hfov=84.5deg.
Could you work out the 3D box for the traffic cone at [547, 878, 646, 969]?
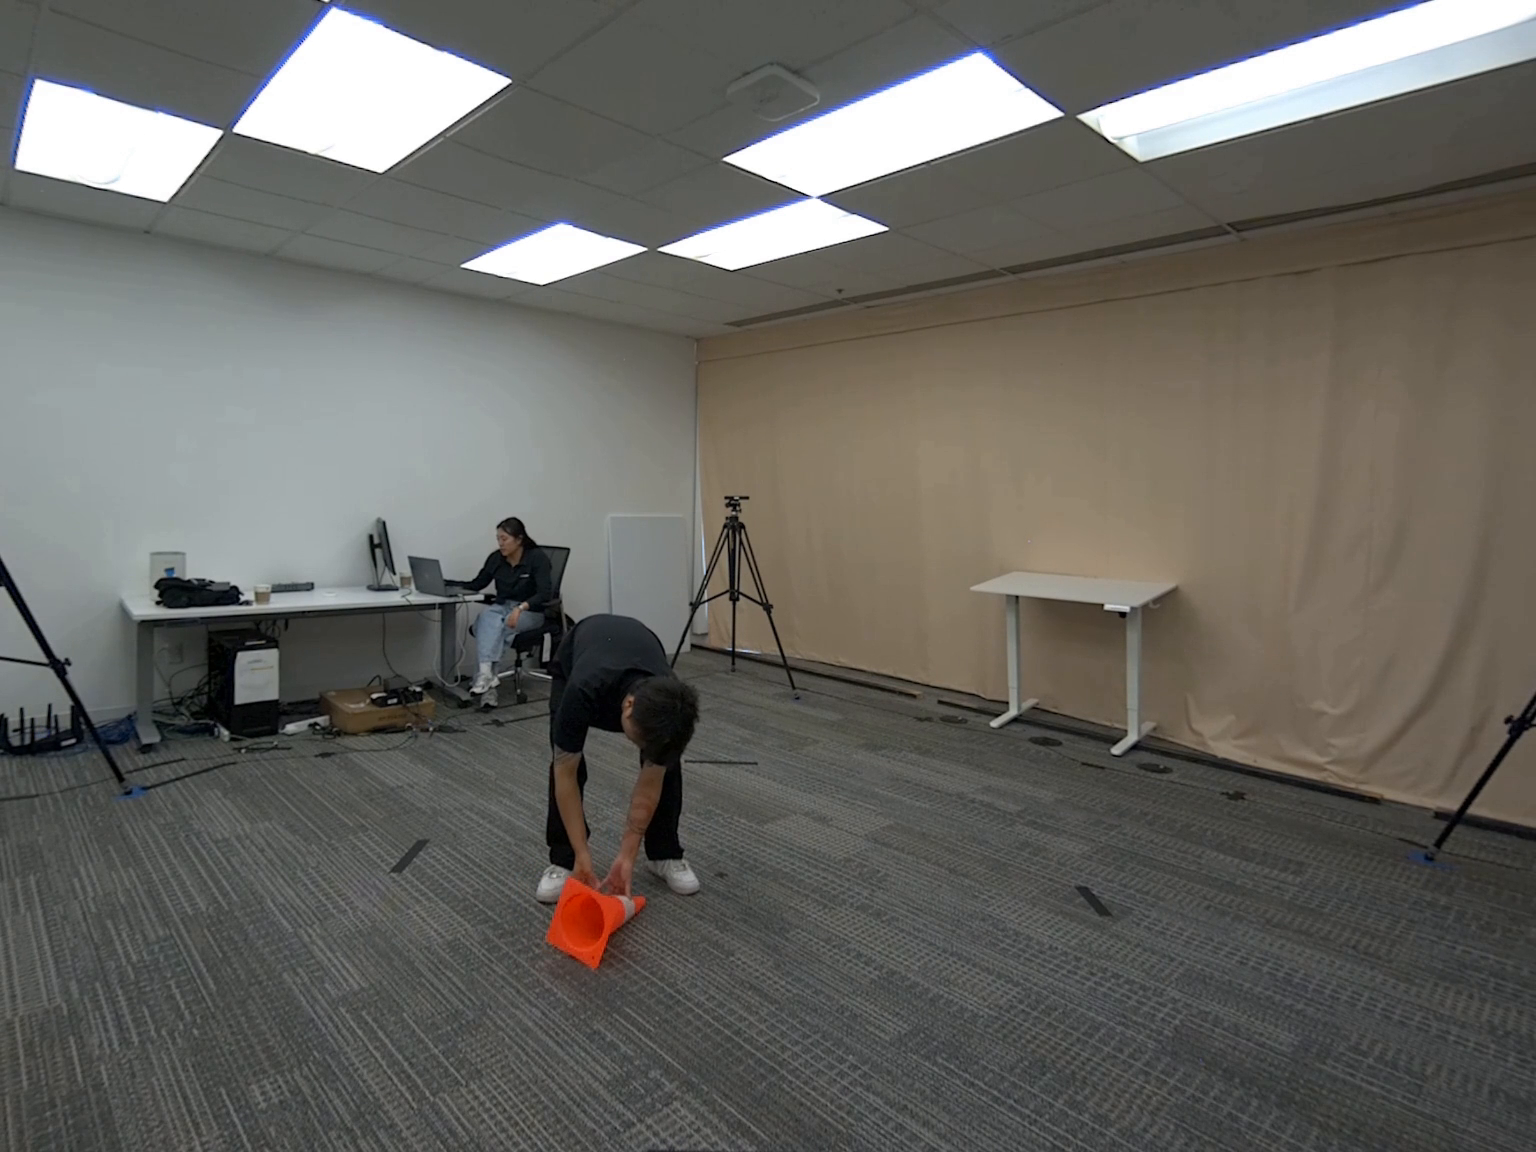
[{"bbox_3d":[-0.517,1.087,2.693,0.208,0.205,0.374,13,-6,26],"label":"traffic cone"}]
